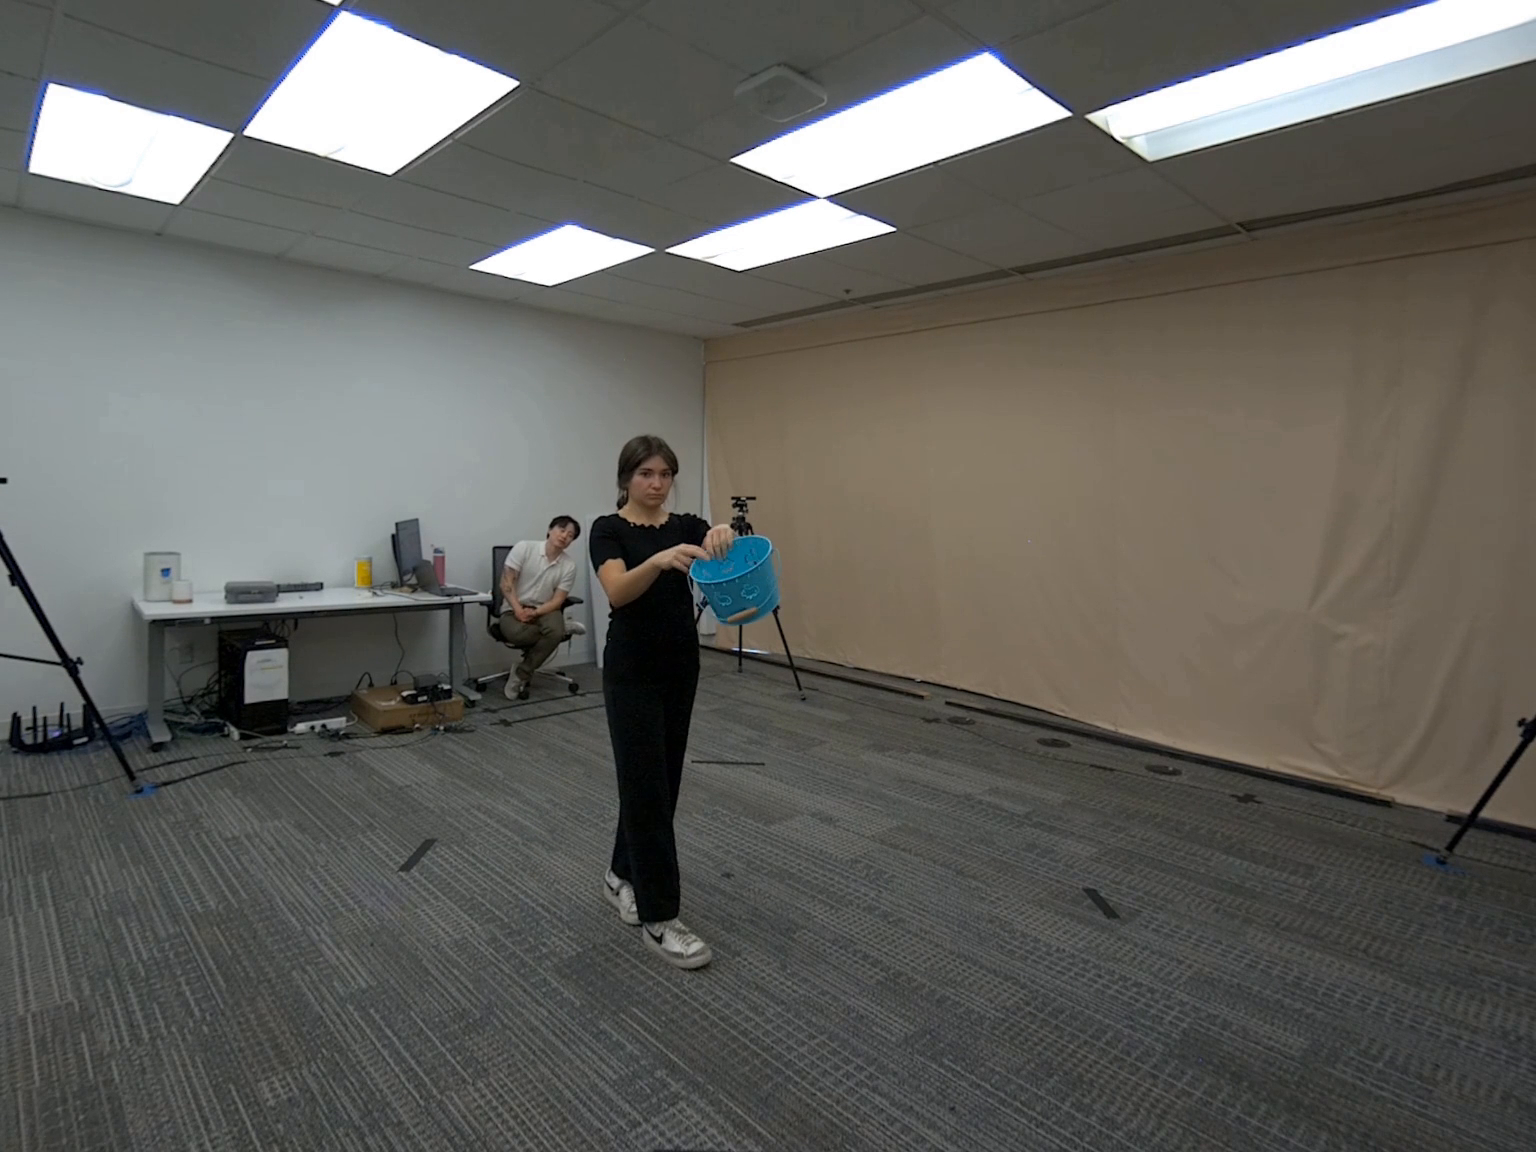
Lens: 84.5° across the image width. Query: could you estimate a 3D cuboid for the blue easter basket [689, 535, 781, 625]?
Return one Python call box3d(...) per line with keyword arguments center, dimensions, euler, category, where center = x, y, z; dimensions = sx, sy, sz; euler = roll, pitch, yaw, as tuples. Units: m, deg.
box3d(center=(-0.082, 0.024, 2.200), dimensions=(0.244, 0.152, 0.248), euler=(-18, 24, 7), category="blue easter basket")
